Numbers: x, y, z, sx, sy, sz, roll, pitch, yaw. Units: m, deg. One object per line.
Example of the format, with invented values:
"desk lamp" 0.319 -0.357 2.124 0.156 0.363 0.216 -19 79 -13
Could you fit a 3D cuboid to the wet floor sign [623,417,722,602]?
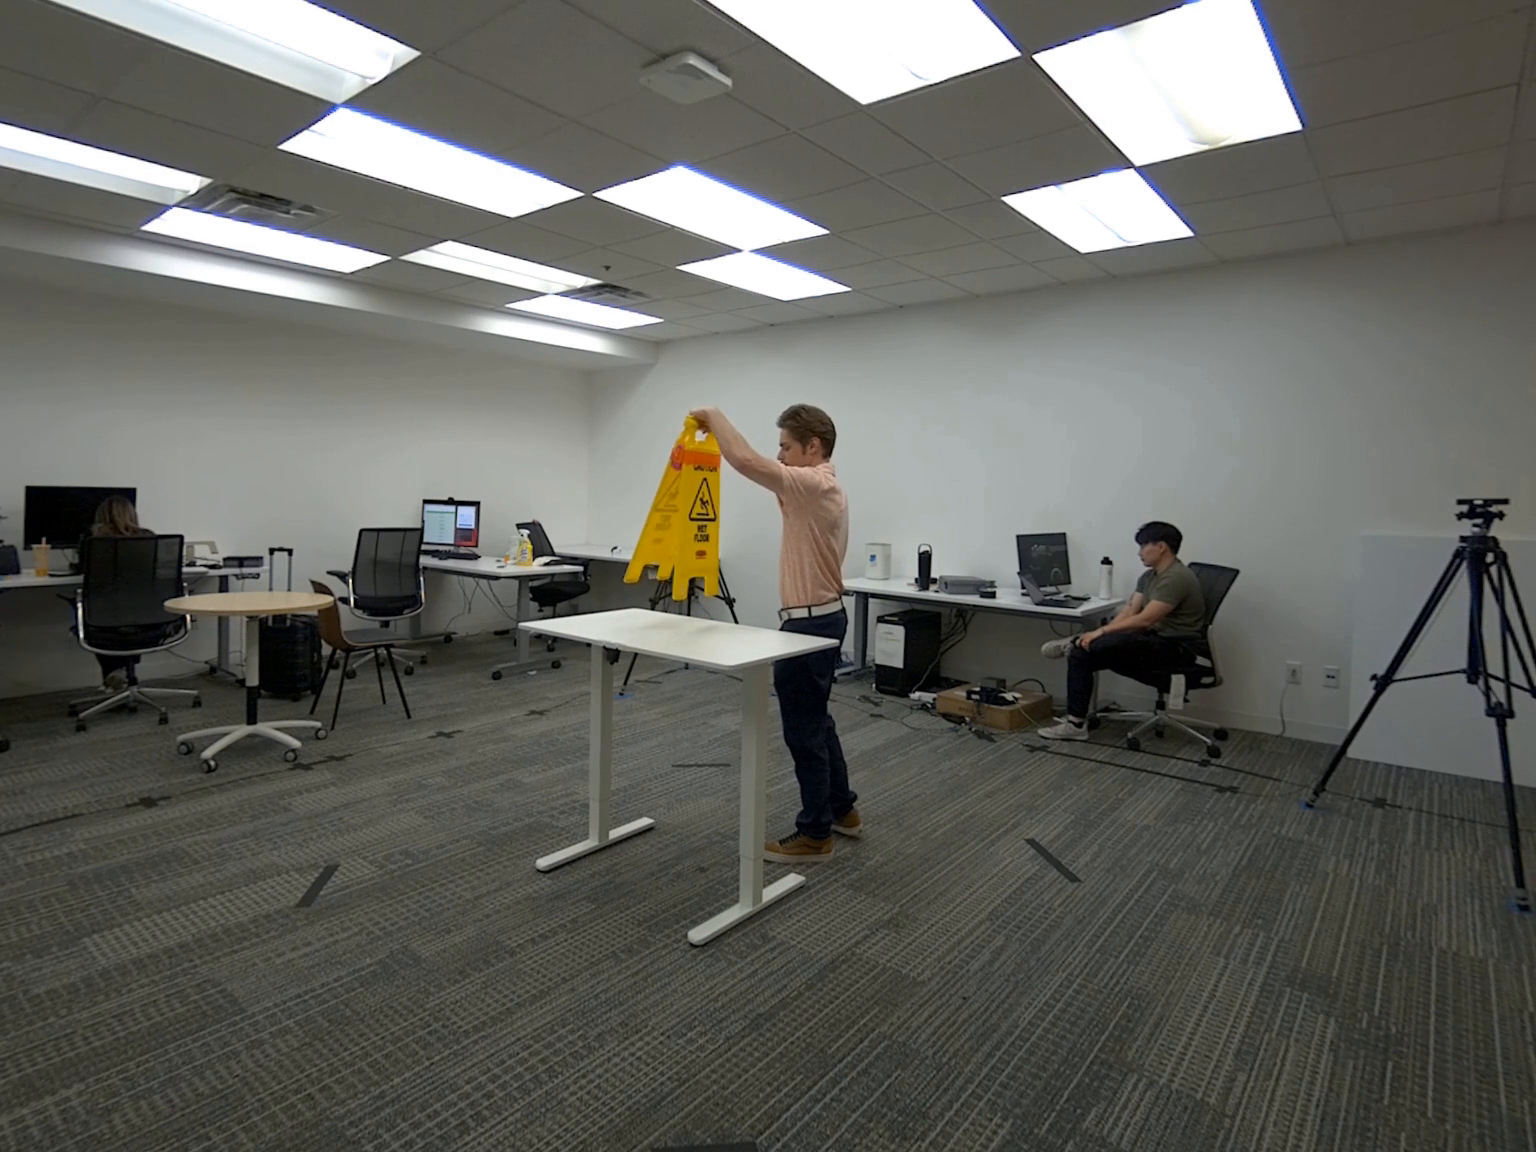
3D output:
"wet floor sign" -0.301 -0.266 3.160 0.299 0.642 0.274 16 9 30
